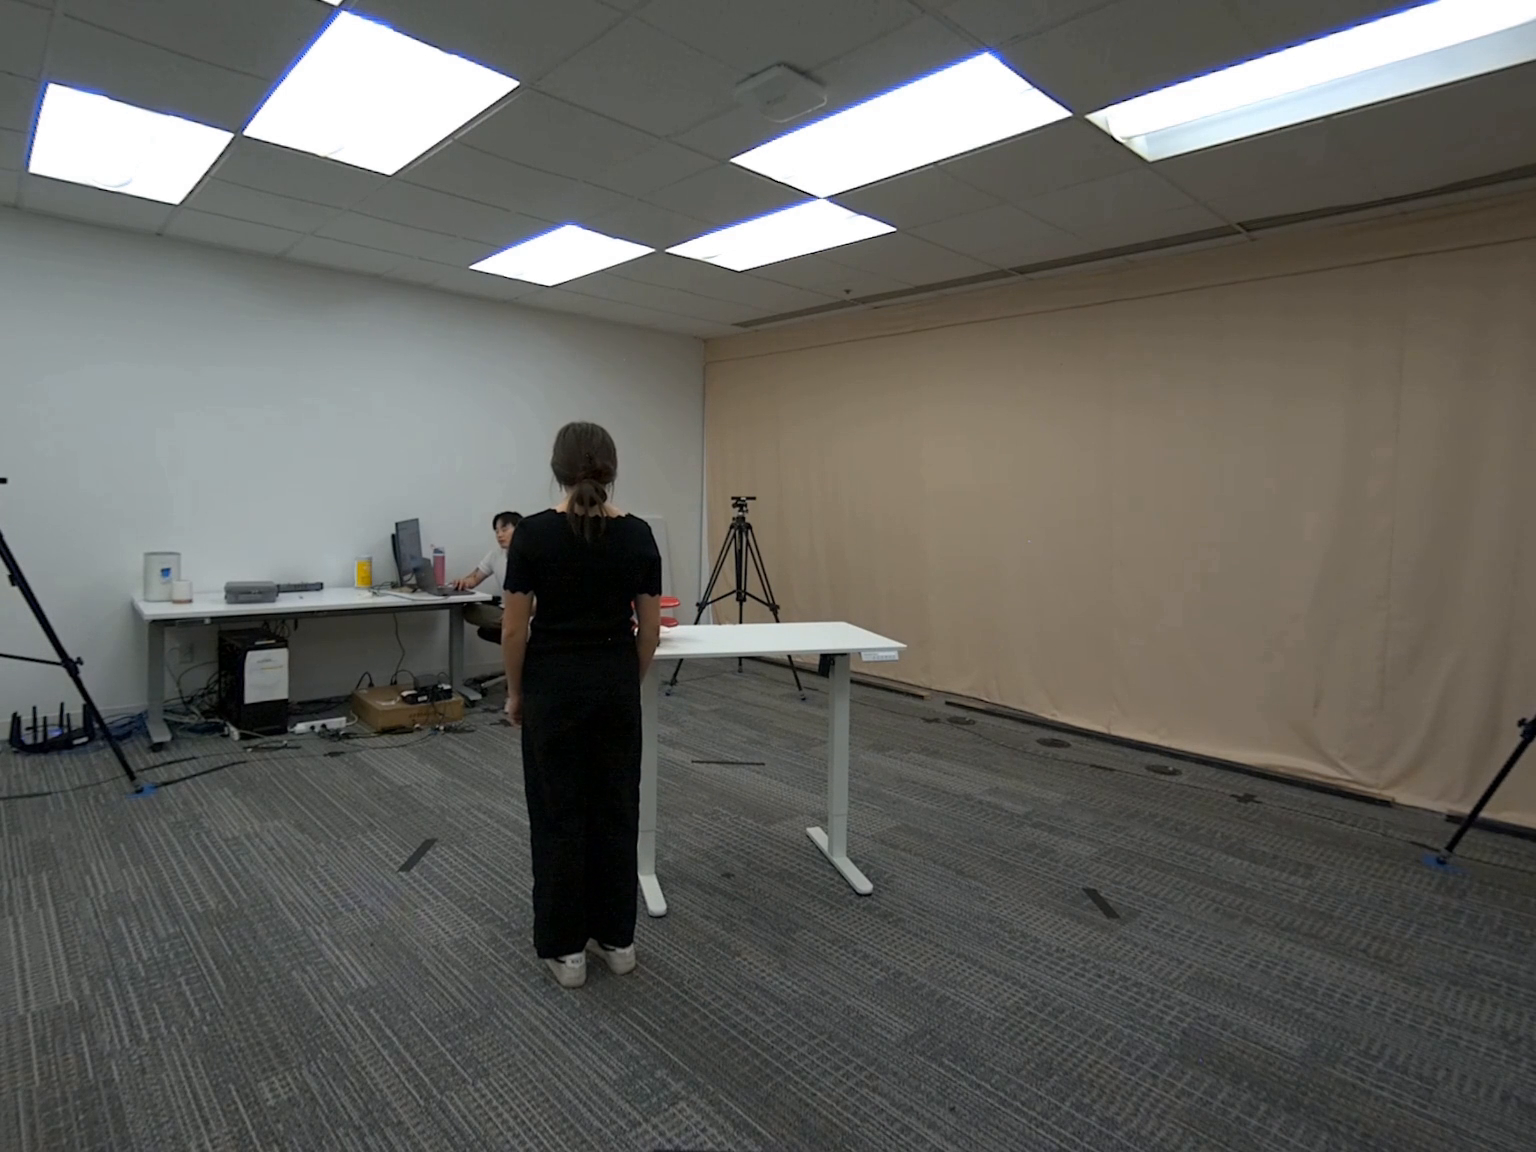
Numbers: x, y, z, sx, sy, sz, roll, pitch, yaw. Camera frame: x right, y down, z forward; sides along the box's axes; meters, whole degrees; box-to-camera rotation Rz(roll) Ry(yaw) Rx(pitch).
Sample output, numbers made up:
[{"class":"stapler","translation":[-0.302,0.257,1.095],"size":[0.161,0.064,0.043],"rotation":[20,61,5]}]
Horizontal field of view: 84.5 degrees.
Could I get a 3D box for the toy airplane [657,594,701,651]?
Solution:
[{"class":"toy airplane","translation":[-0.420,0.156,2.956],"size":[0.266,0.156,0.245],"rotation":[4,6,44]}]
